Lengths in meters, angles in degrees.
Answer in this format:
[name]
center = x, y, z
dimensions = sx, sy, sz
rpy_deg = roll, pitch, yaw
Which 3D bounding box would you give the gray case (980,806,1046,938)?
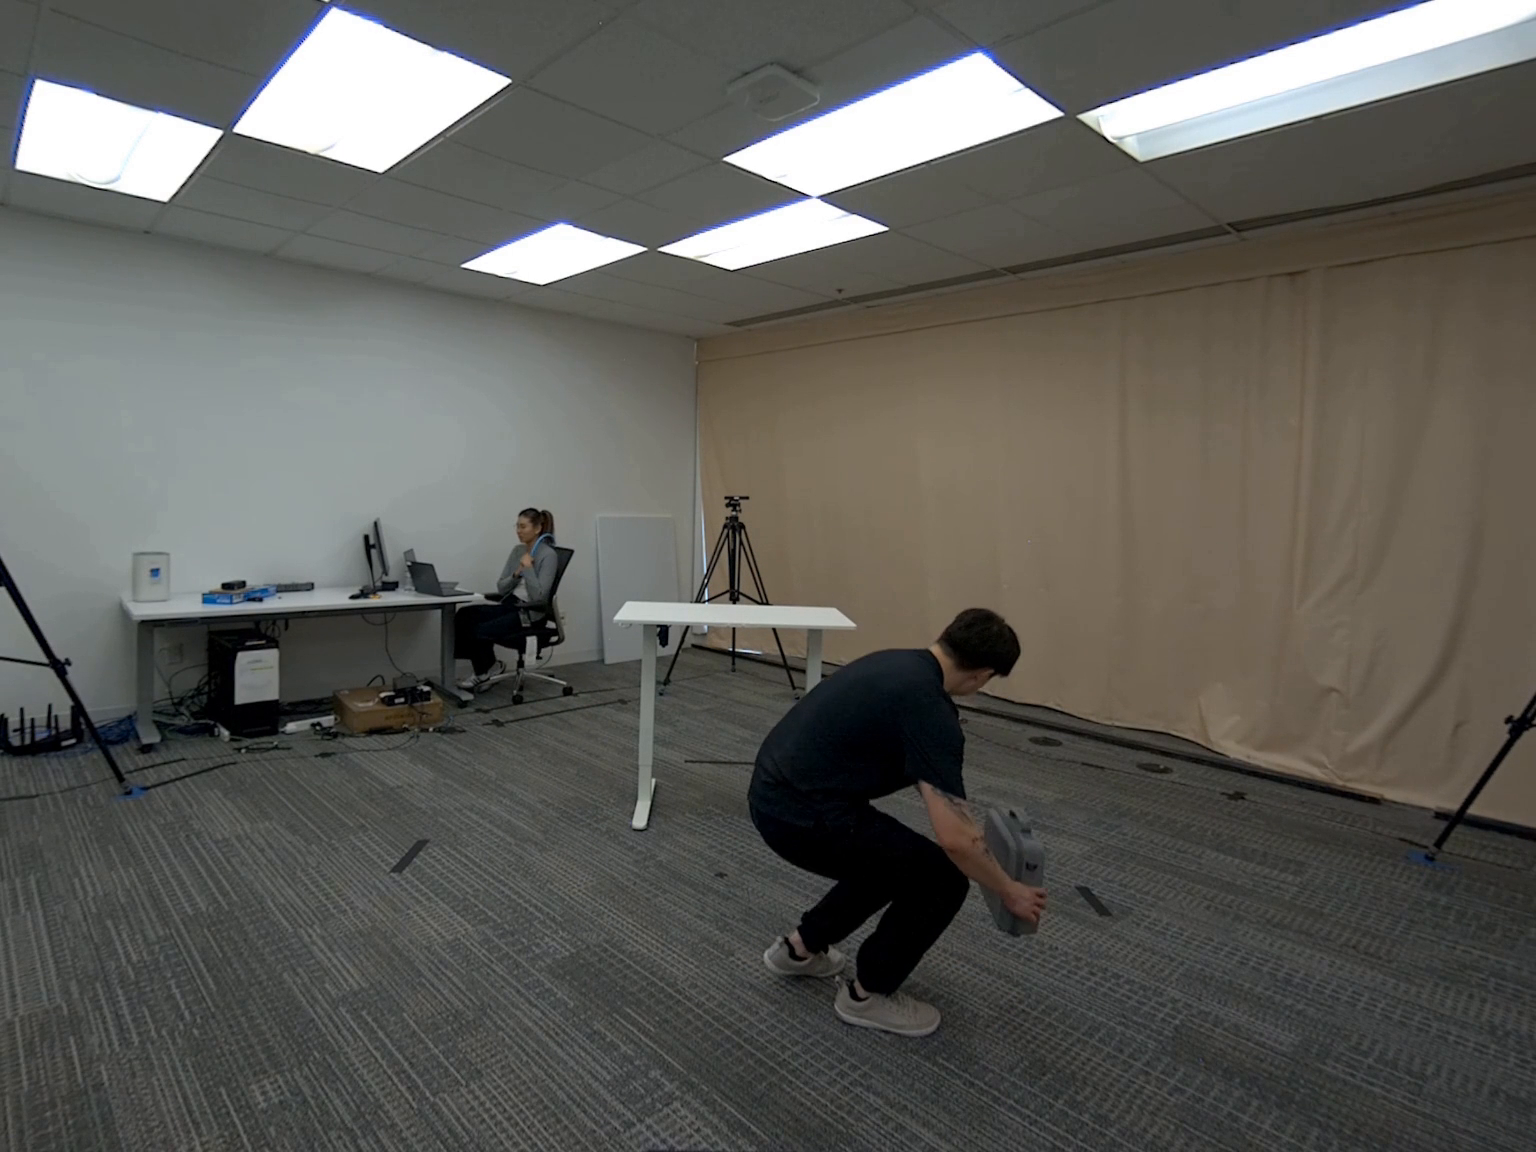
[gray case]
center = 0.648, 0.785, 2.279
dimensions = 0.104, 0.259, 0.258
rpy_deg = 5, 9, 0
